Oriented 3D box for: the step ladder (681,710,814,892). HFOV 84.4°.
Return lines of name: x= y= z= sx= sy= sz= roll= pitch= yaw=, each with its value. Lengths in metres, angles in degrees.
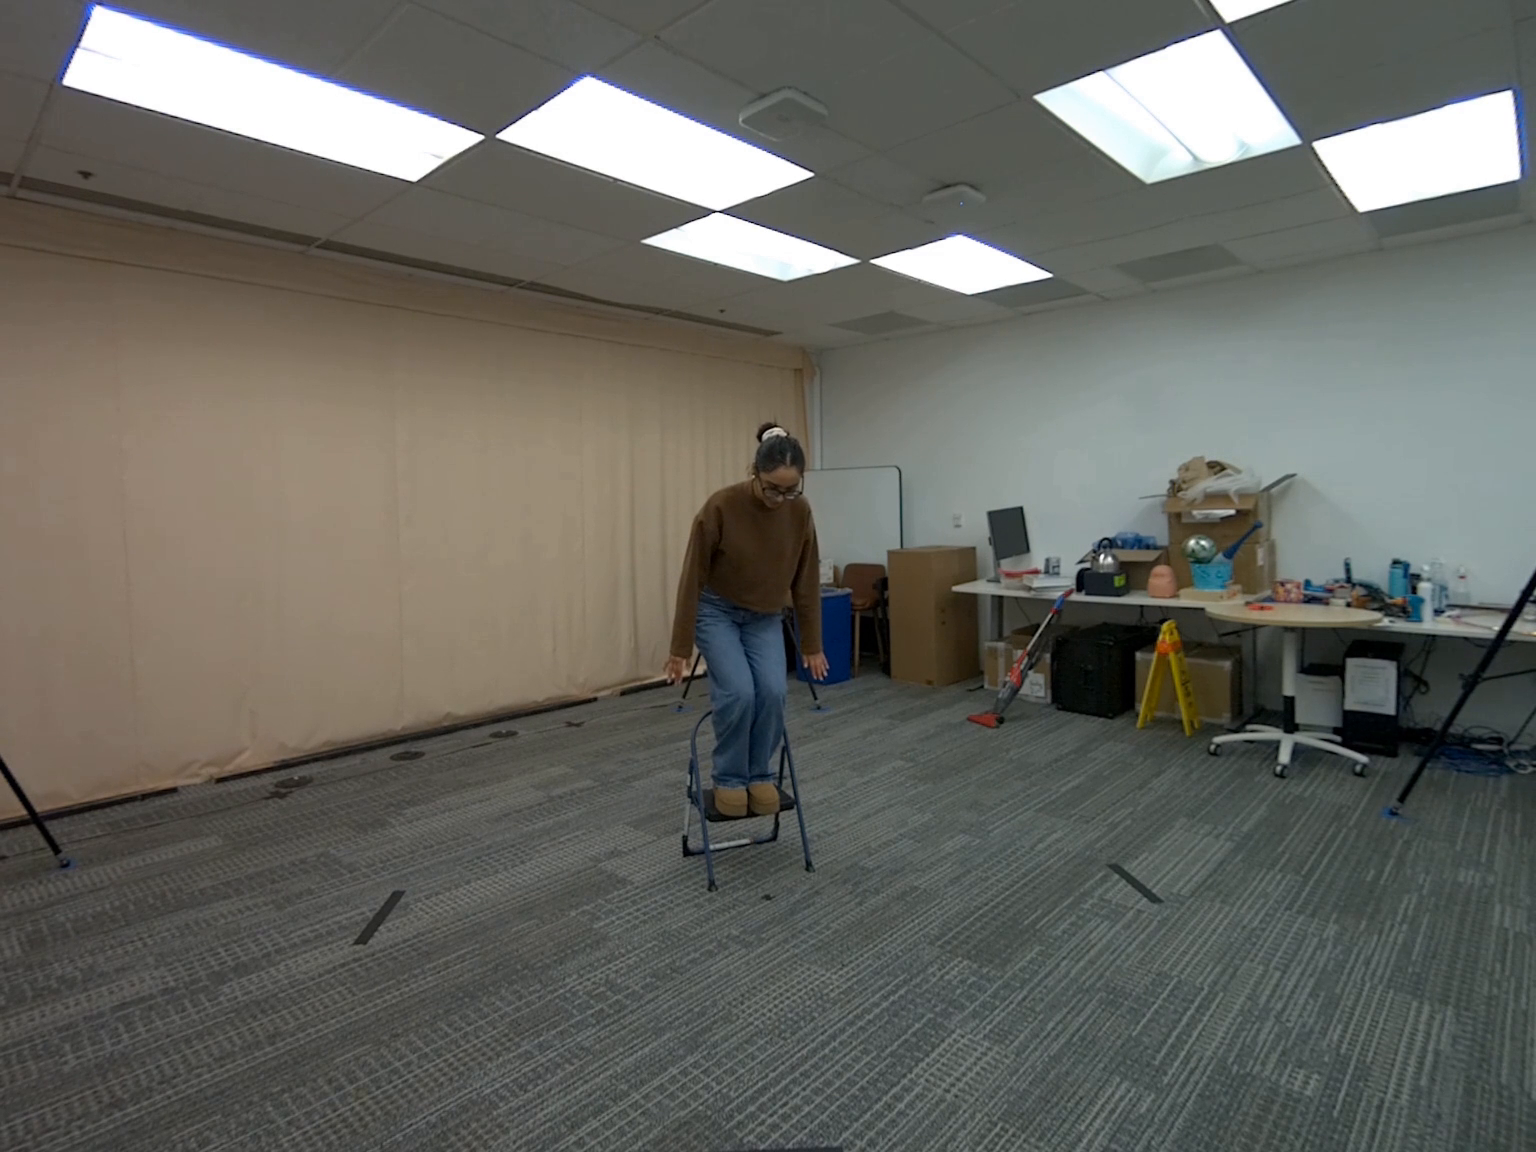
step ladder: x=-0.088 y=0.818 z=3.260 sx=0.421 sy=0.605 sz=0.358 roll=-3 pitch=4 yaw=-23
